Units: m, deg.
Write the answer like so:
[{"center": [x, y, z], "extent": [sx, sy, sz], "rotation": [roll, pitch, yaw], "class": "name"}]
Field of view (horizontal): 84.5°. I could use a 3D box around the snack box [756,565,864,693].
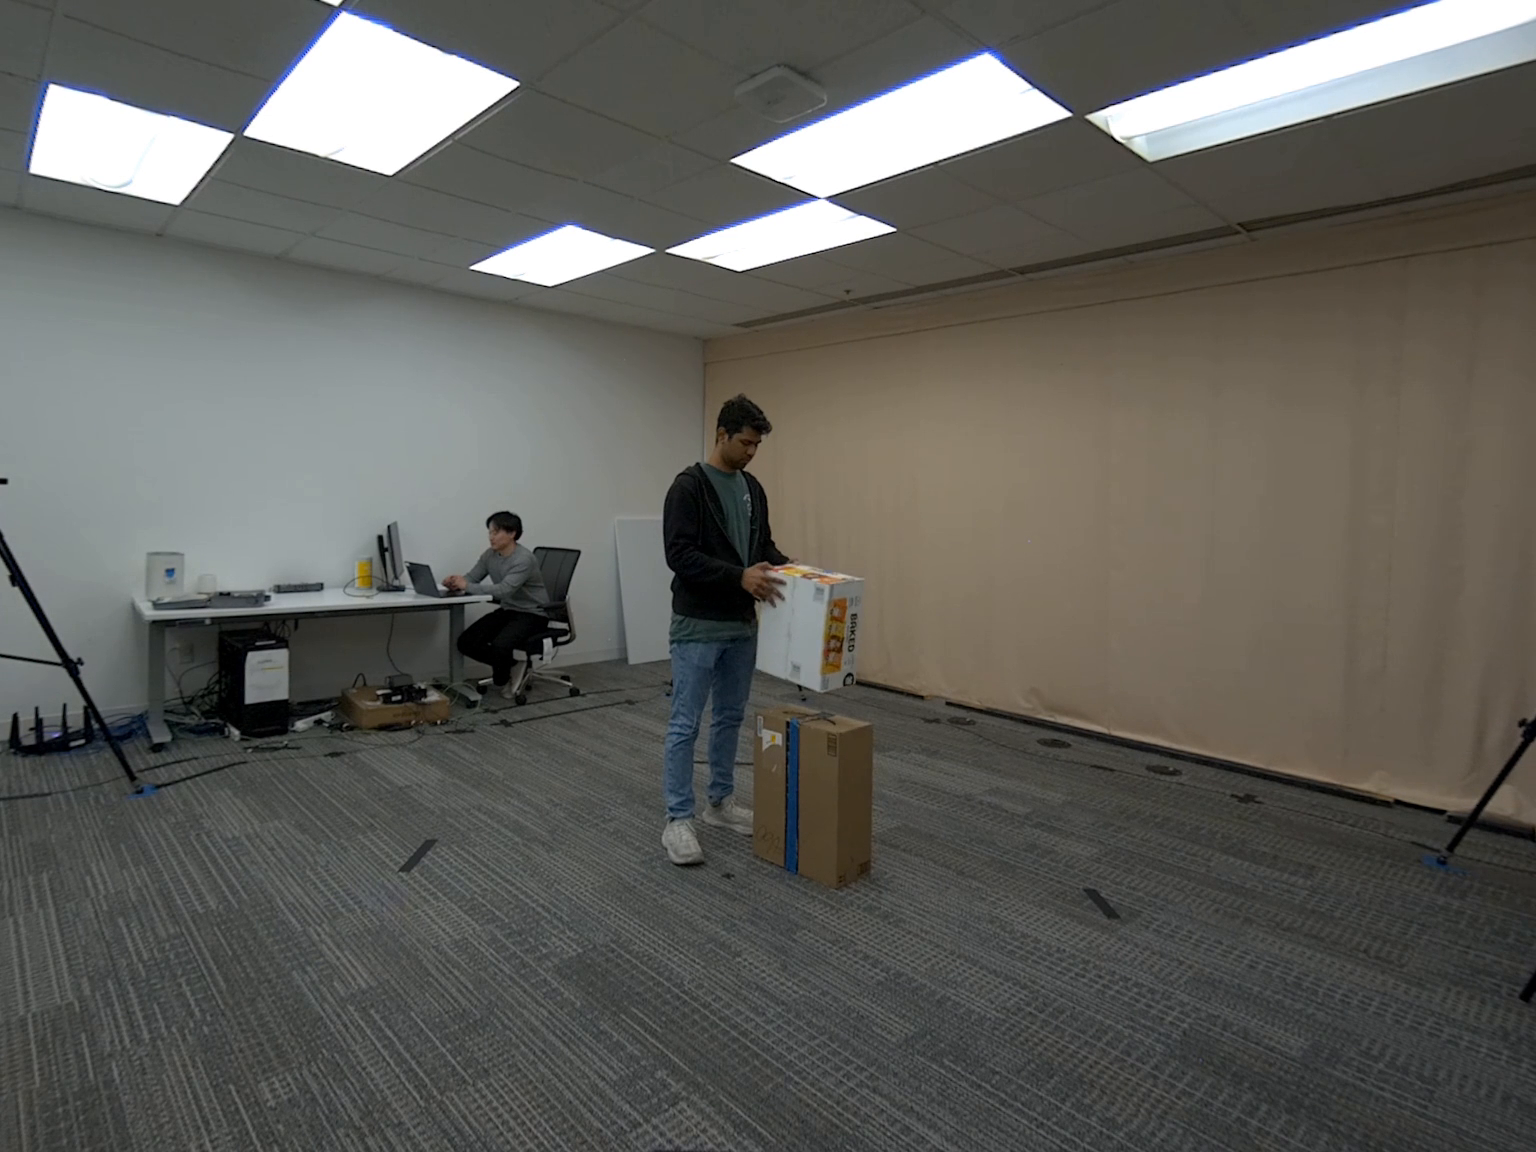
[{"center": [0.147, 0.179, 3.188], "extent": [0.201, 0.403, 0.350], "rotation": [-4, 12, -44], "class": "snack box"}]
